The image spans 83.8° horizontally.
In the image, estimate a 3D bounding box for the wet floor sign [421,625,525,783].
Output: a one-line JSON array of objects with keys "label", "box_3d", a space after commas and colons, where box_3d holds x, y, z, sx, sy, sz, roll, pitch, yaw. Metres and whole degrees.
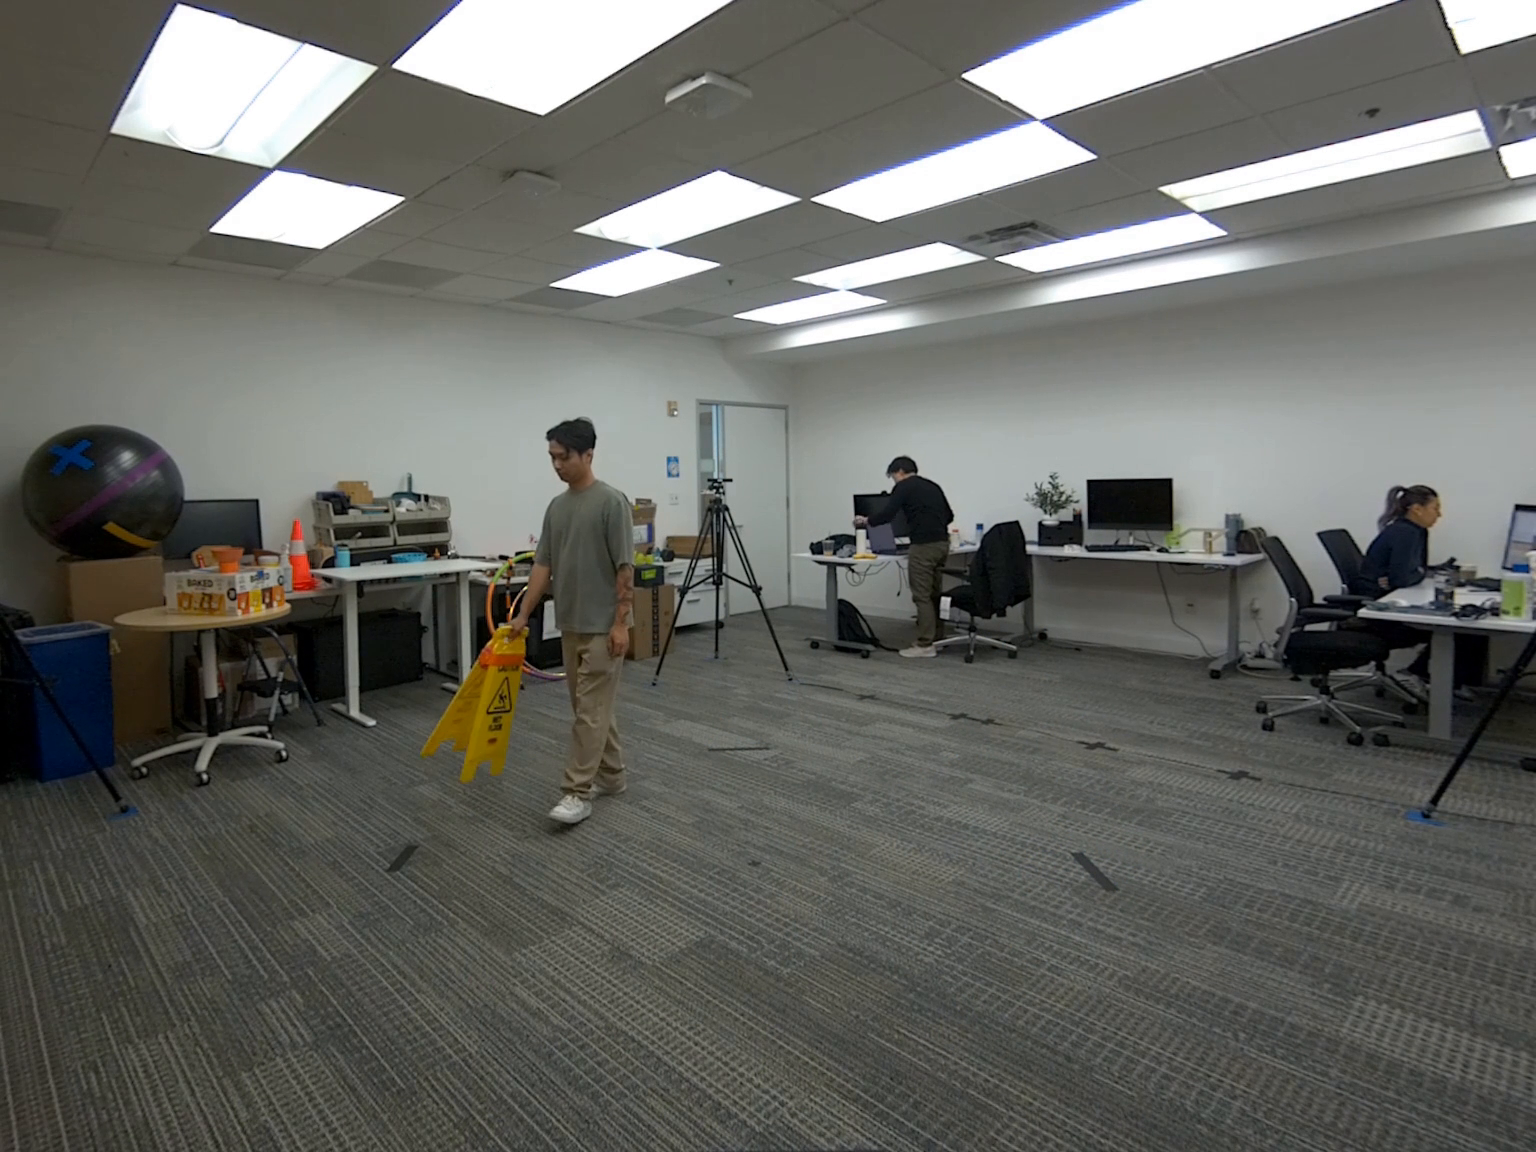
[{"label": "wet floor sign", "box_3d": [-1.195, 0.529, 3.710, 0.297, 0.645, 0.276, 22, 2, 19]}]
